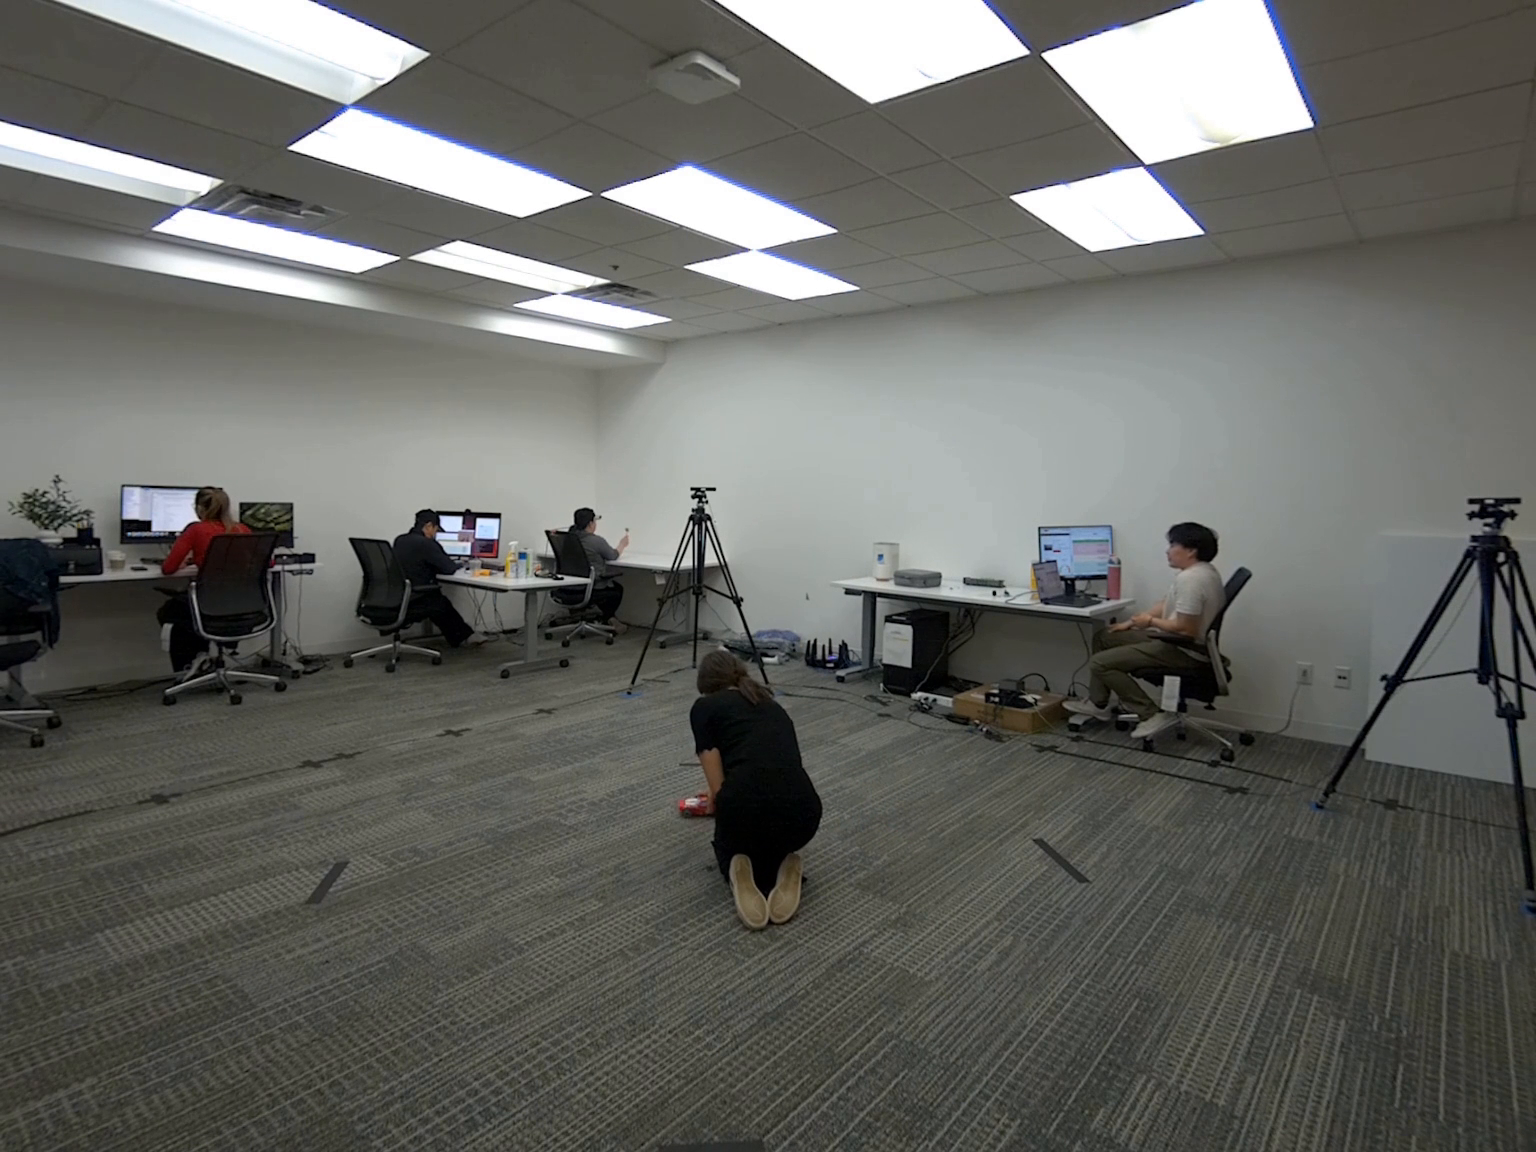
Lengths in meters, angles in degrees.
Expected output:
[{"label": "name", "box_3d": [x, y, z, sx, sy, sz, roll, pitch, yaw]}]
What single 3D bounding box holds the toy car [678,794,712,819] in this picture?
[{"label": "toy car", "box_3d": [-0.259, 0.982, 3.642, 0.254, 0.083, 0.131, -9, 6, -4]}]
